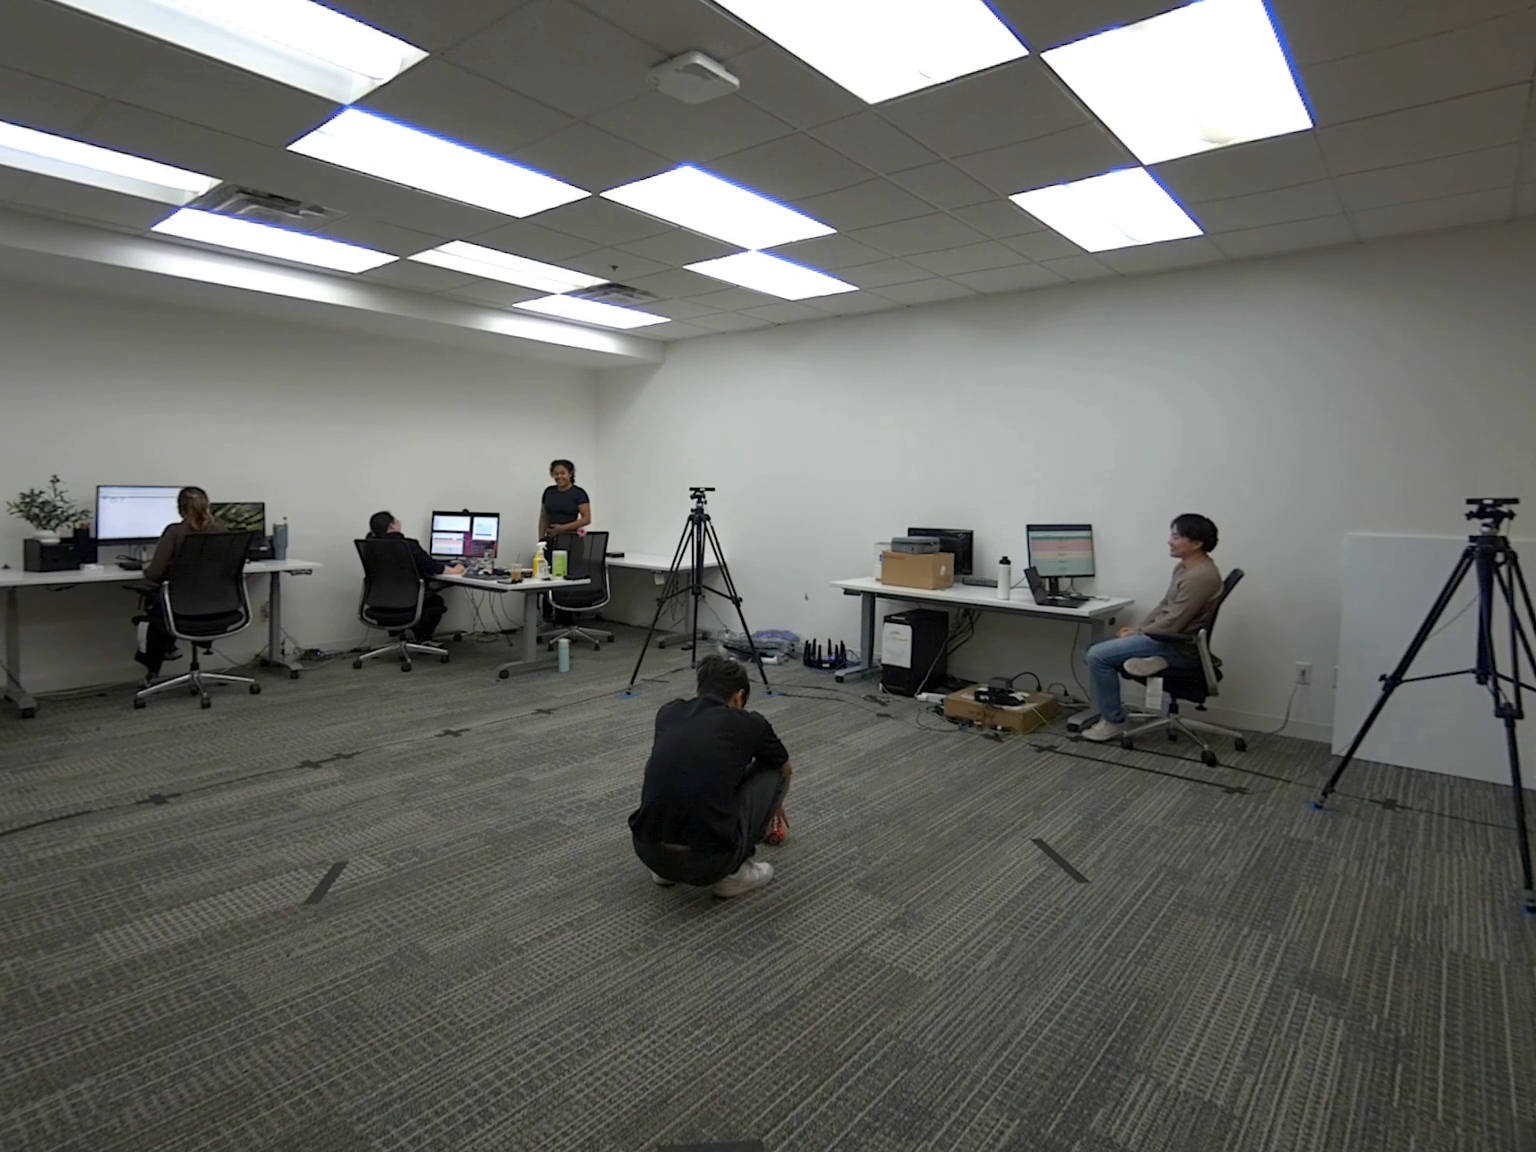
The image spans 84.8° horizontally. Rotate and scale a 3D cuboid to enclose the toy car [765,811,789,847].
[{"bbox_3d":[-0.077,1.007,3.397,0.257,0.083,0.129,15,3,8],"label":"toy car"}]
